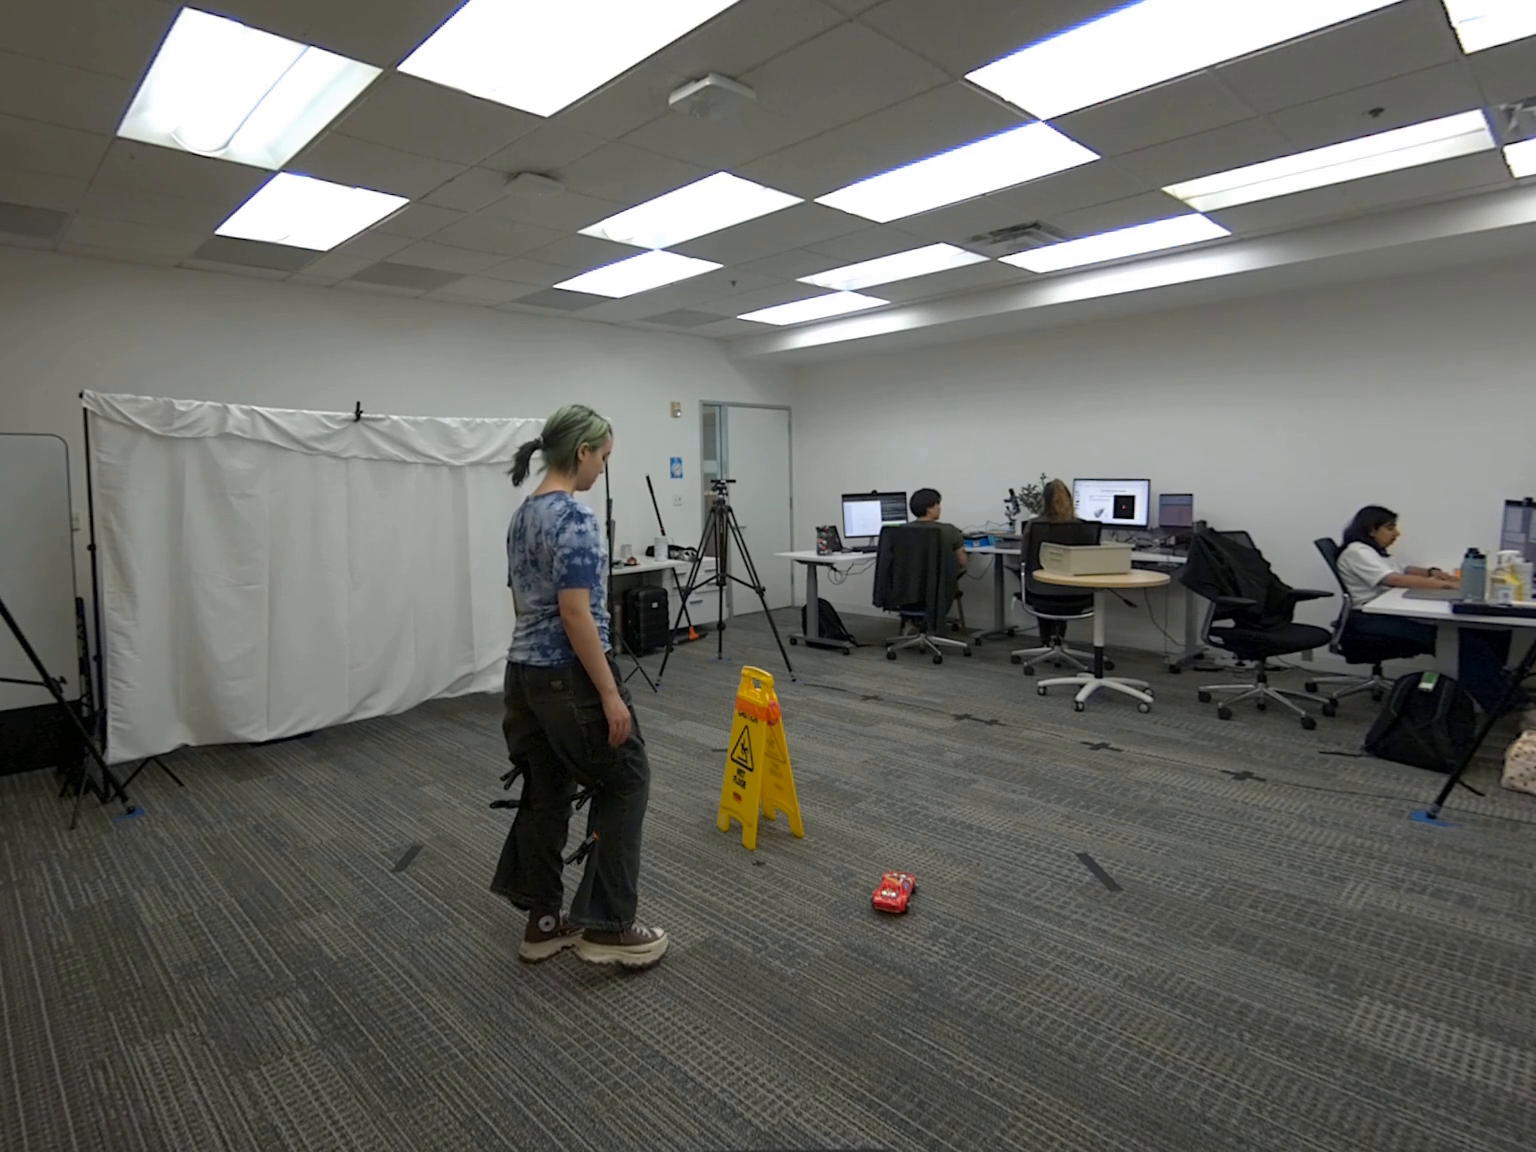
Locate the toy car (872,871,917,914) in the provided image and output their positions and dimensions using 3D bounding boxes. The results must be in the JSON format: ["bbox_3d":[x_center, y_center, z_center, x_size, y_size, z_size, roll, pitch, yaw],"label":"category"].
[{"bbox_3d":[0.421,1.043,2.799,0.133,0.083,0.248,2,-4,21],"label":"toy car"}]
